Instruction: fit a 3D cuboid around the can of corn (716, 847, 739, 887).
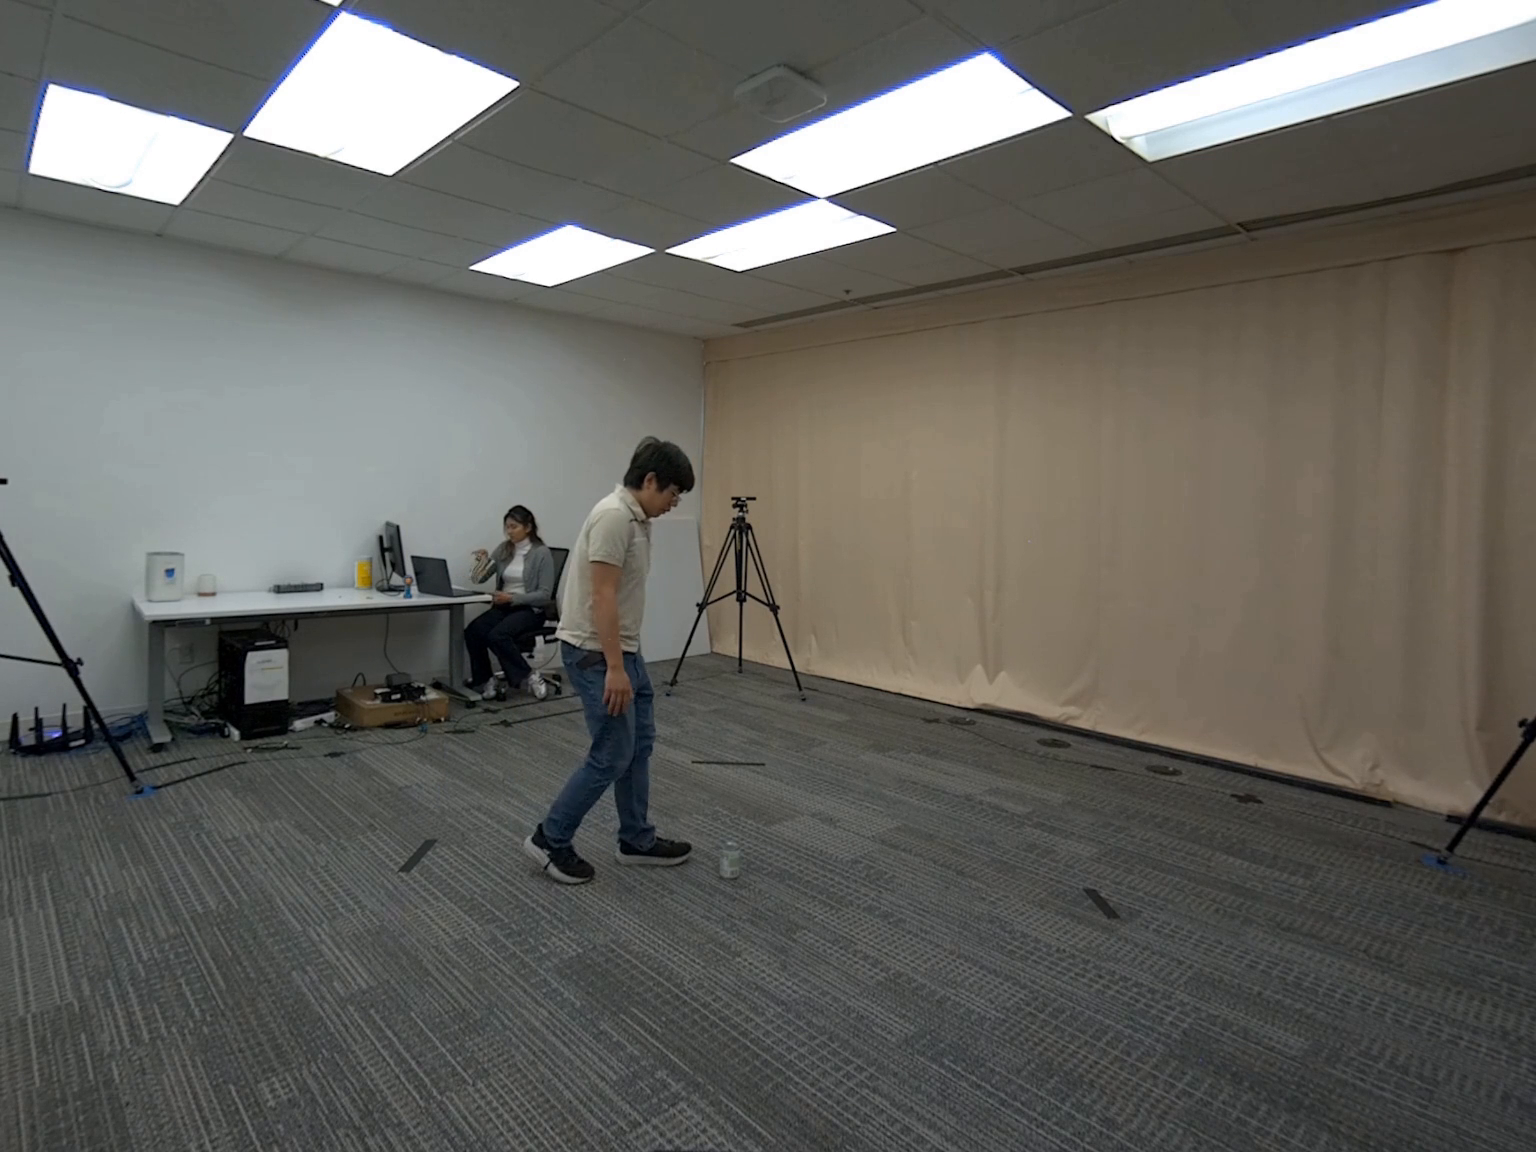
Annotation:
[{"bbox_3d":[-0.150,1.064,3.101,0.074,0.110,0.074,-1,6,-1],"label":"can of corn"}]
